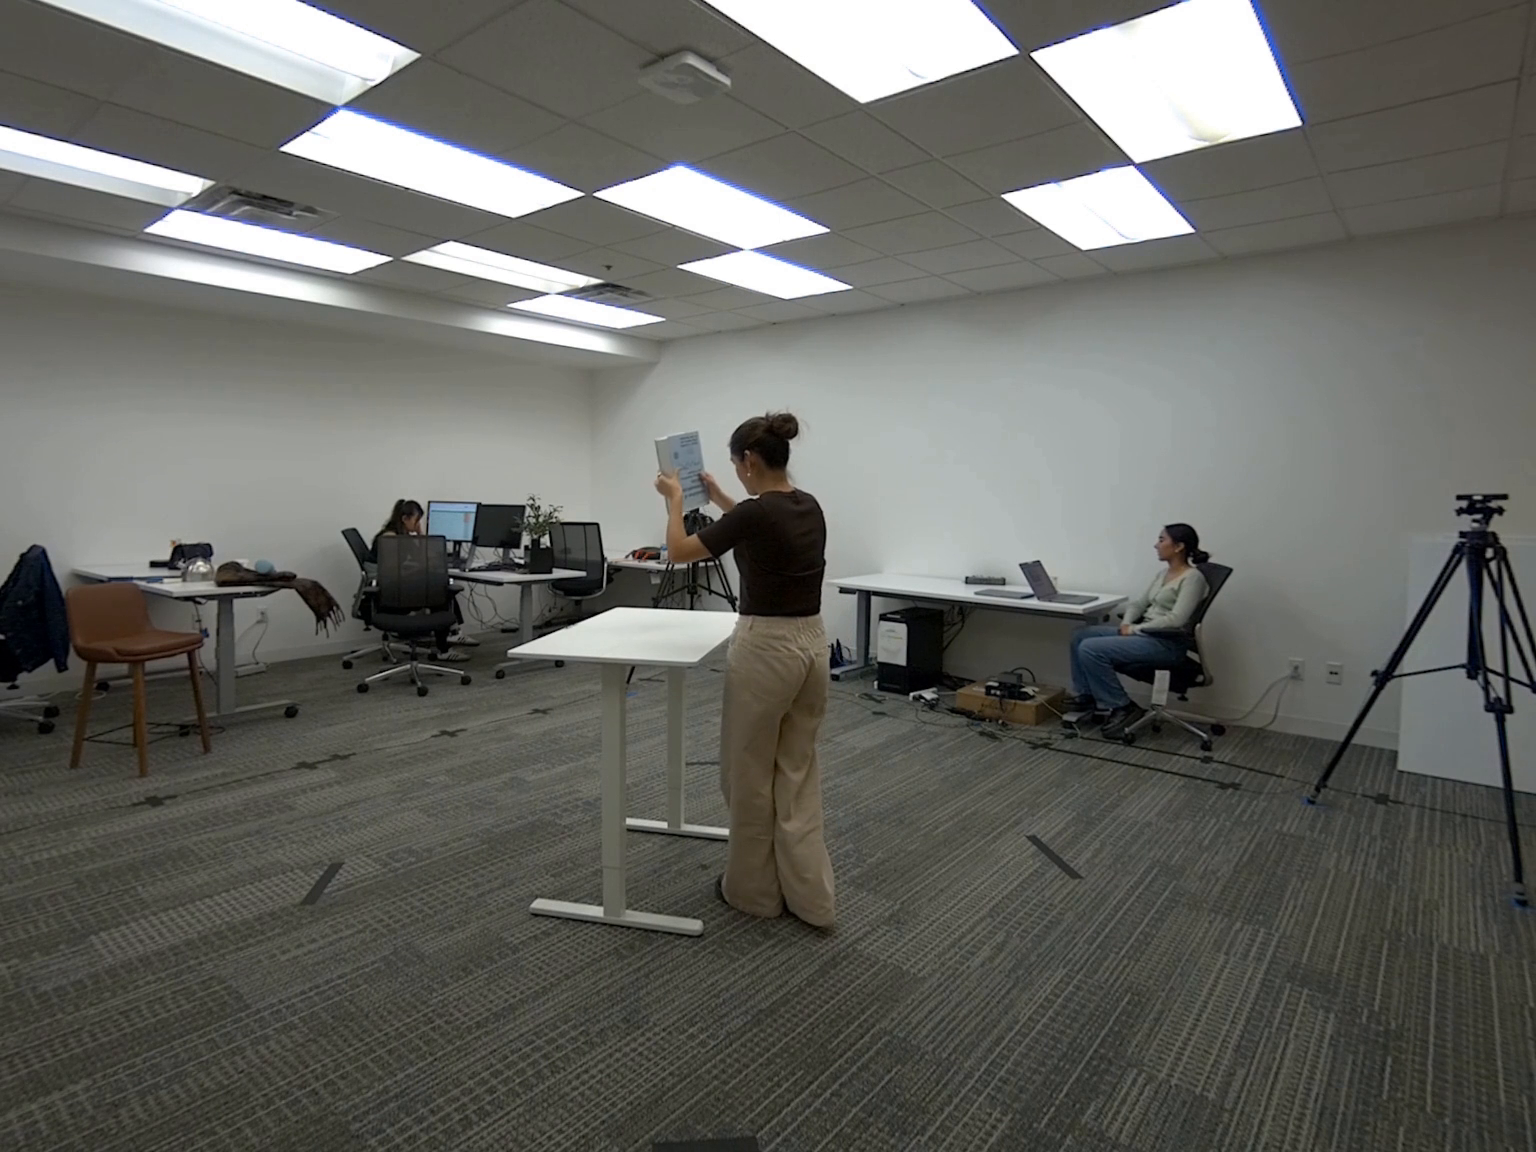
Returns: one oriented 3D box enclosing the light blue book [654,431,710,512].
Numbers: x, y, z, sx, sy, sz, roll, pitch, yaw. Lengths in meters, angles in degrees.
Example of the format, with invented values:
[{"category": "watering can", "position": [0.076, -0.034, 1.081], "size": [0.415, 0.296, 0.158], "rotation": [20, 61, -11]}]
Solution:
[{"category": "light blue book", "position": [-0.296, -0.360, 2.911], "size": [0.060, 0.258, 0.188], "rotation": [-4, 11, 32]}]
